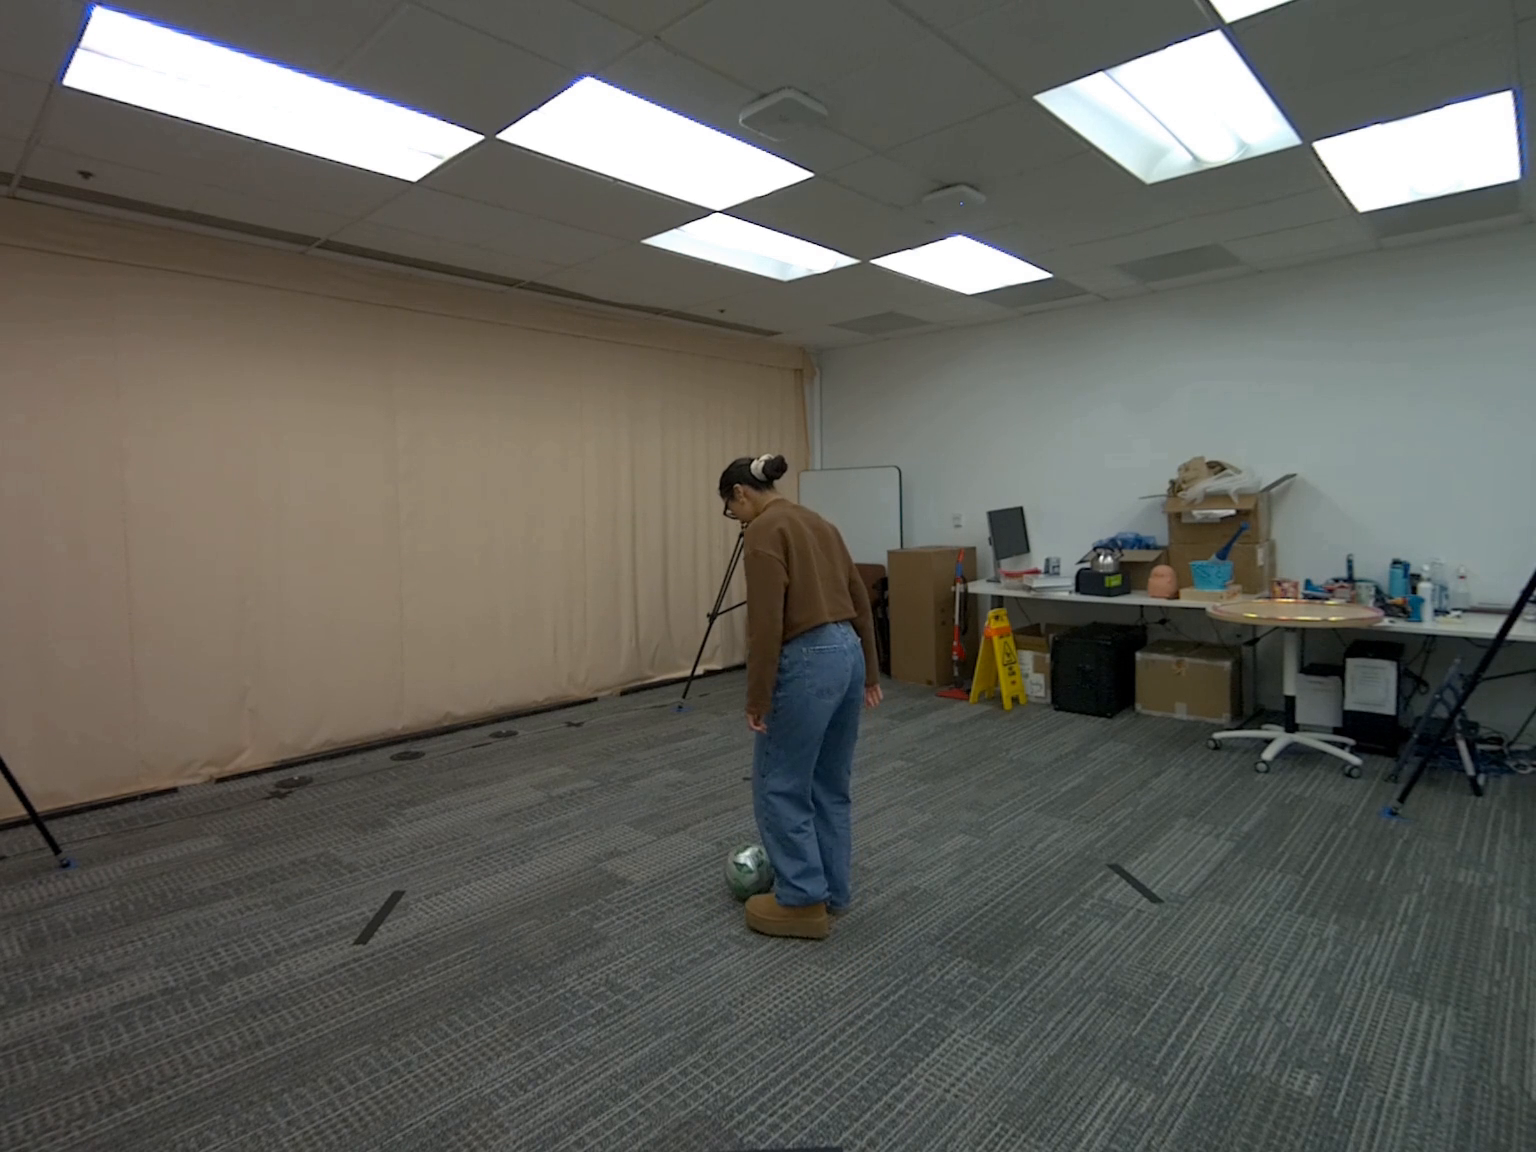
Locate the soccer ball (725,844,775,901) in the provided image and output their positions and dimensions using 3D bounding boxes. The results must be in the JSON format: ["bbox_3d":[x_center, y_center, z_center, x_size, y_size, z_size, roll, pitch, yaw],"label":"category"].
[{"bbox_3d":[-0.061,1.050,2.985,0.187,0.187,0.188,-1,4,-2],"label":"soccer ball"}]
